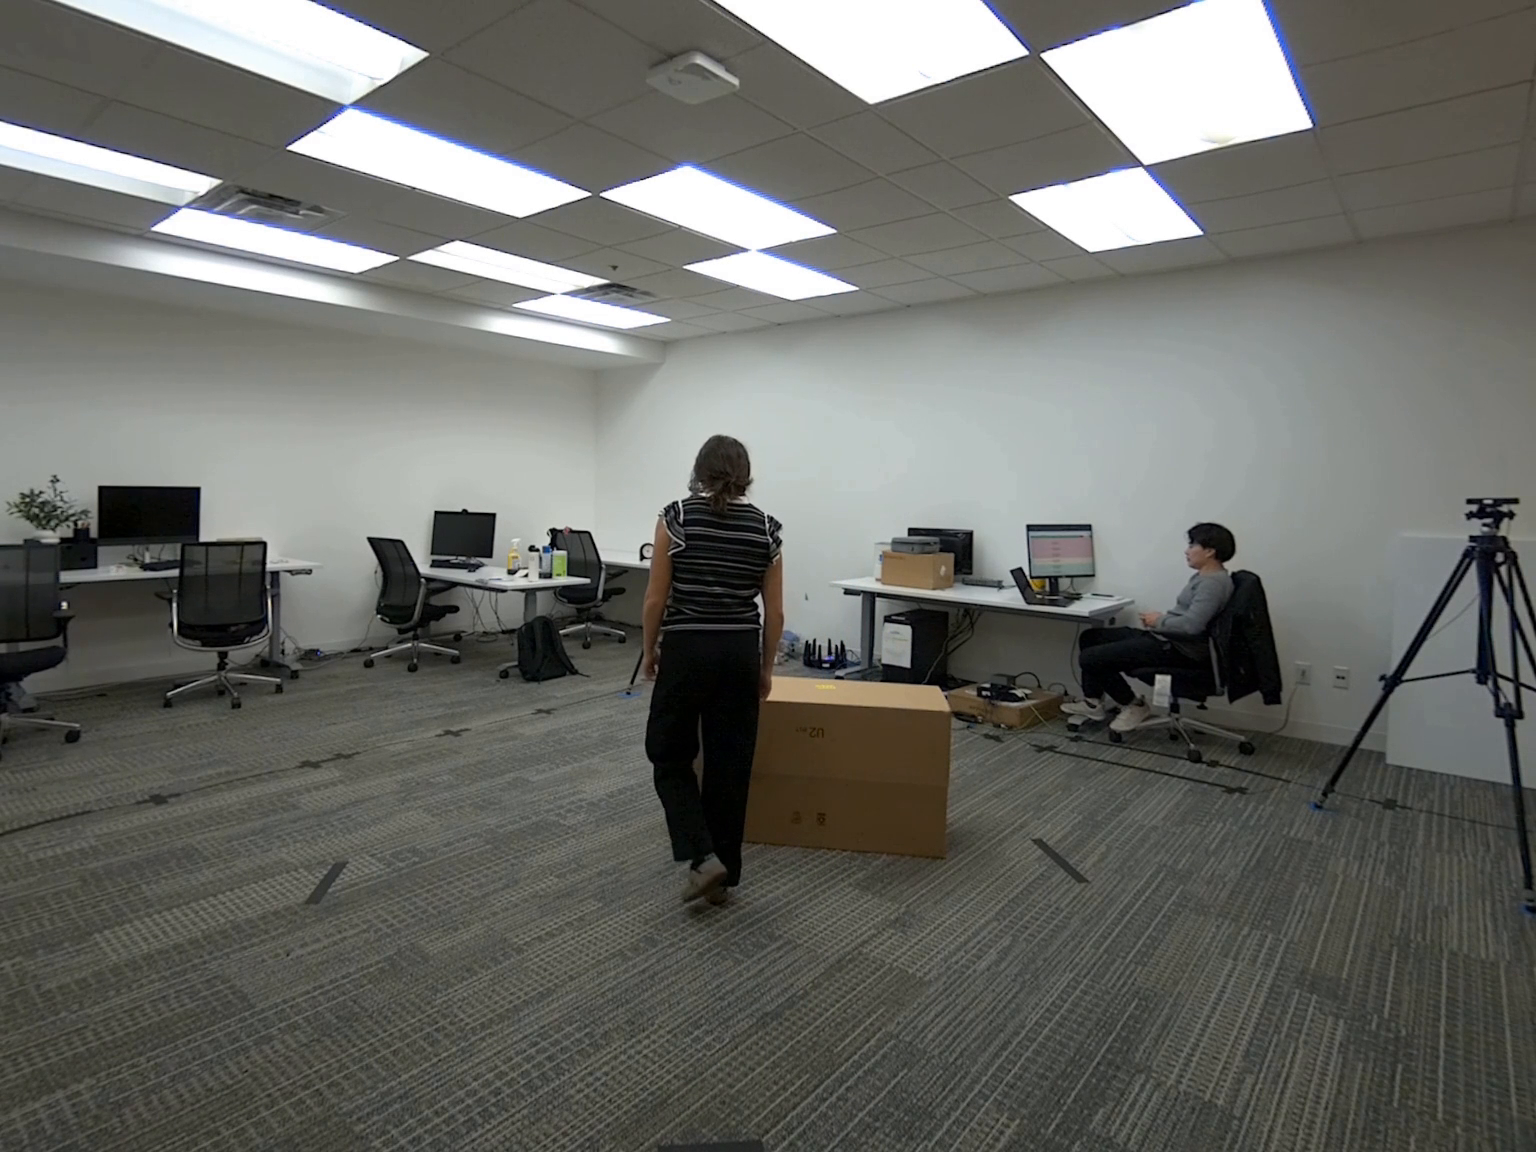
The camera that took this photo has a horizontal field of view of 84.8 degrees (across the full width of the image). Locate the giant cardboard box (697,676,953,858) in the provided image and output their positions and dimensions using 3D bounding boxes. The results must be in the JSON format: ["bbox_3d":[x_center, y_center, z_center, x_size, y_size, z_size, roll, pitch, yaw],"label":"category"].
[{"bbox_3d":[0.193,0.745,3.502,1.035,0.576,0.424,2,4,8],"label":"giant cardboard box"}]
